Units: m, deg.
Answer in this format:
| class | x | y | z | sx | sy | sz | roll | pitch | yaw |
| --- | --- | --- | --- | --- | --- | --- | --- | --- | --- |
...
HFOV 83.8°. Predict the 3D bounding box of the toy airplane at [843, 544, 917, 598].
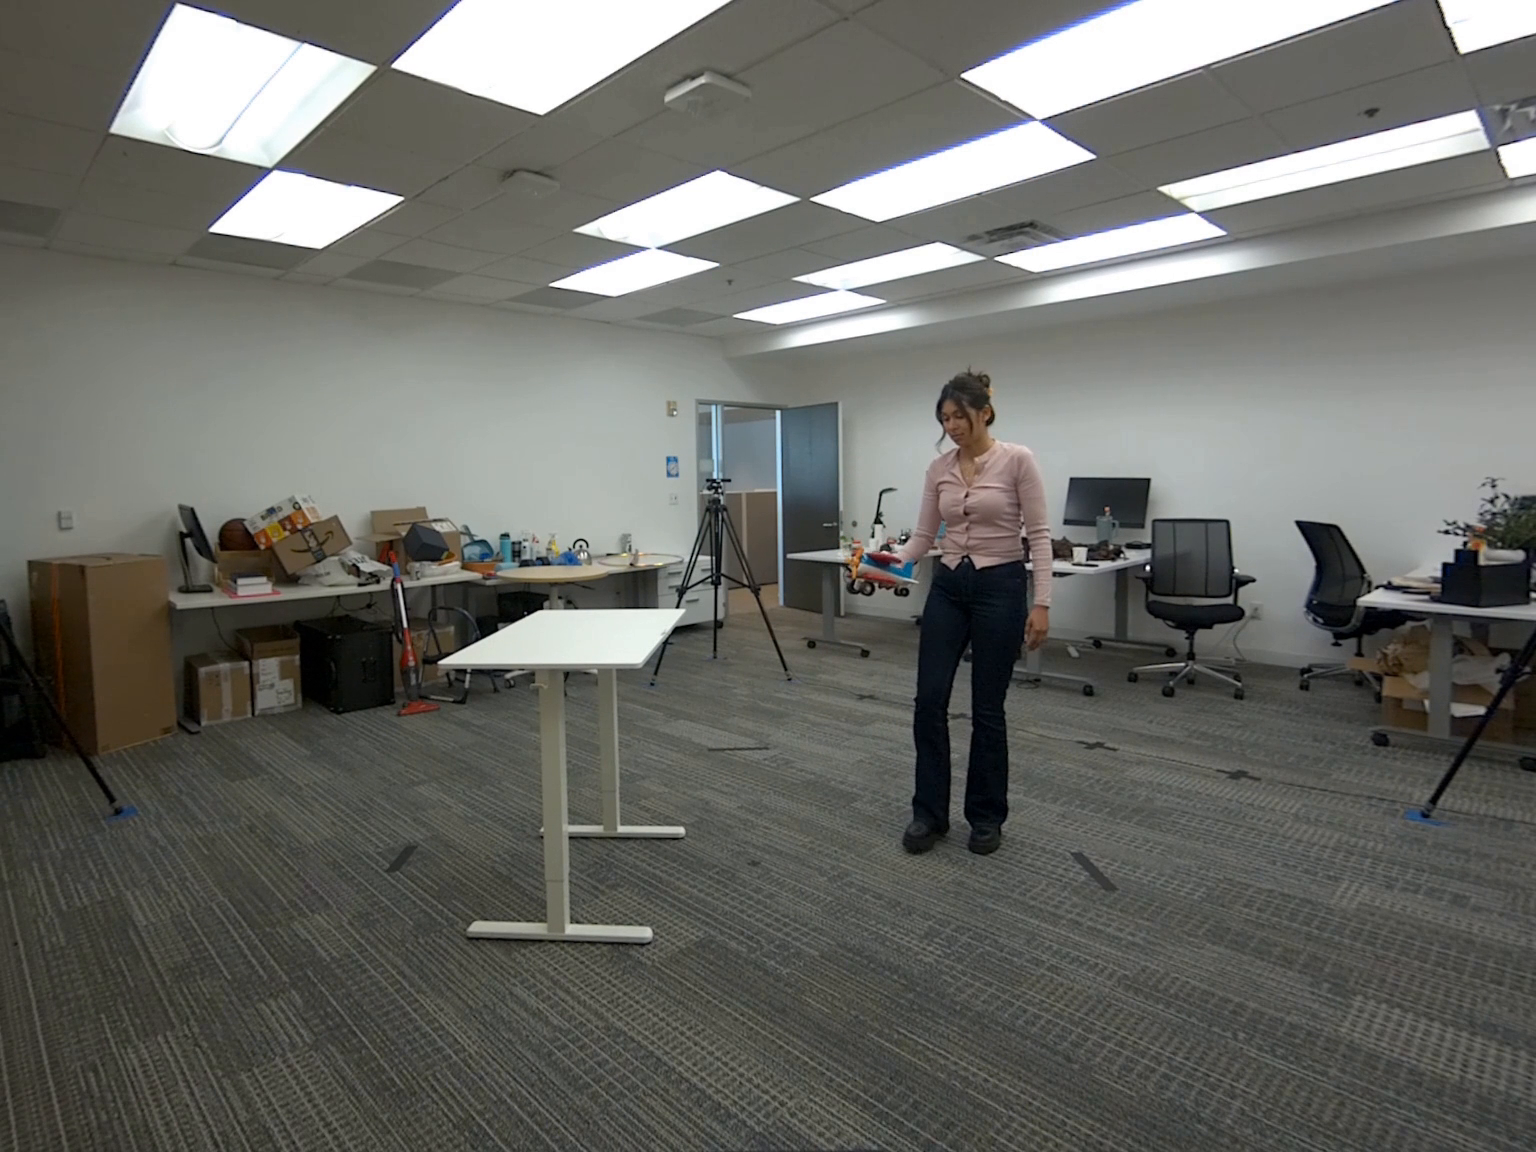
| class | x | y | z | sx | sy | sz | roll | pitch | yaw |
| --- | --- | --- | --- | --- | --- | --- | --- | --- | --- |
| toy airplane | 0.386 | -0.007 | 3.085 | 0.258 | 0.156 | 0.252 | 3 | 1 | 38 |
